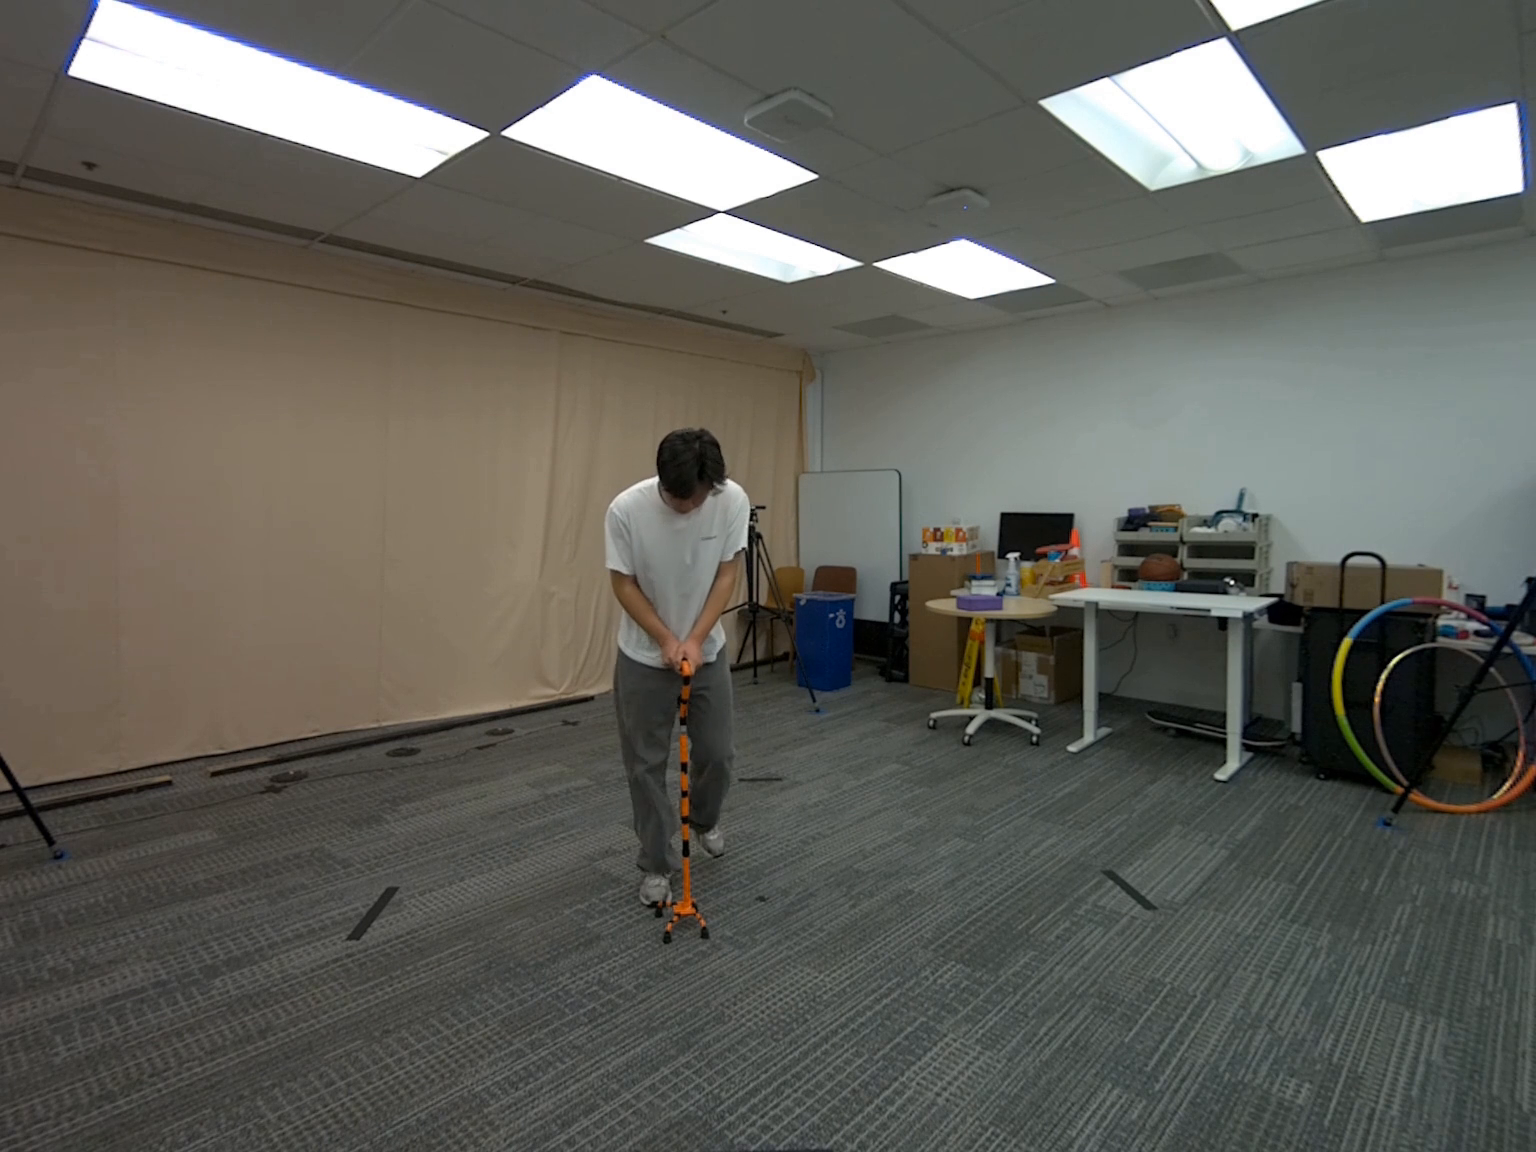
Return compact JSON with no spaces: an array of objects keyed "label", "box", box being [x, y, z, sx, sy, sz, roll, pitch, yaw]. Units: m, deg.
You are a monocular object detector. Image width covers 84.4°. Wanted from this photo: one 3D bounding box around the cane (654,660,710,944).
[{"label":"cane","box":[-0.290,0.710,2.772,0.149,0.906,0.210,-1,2,-18]}]
